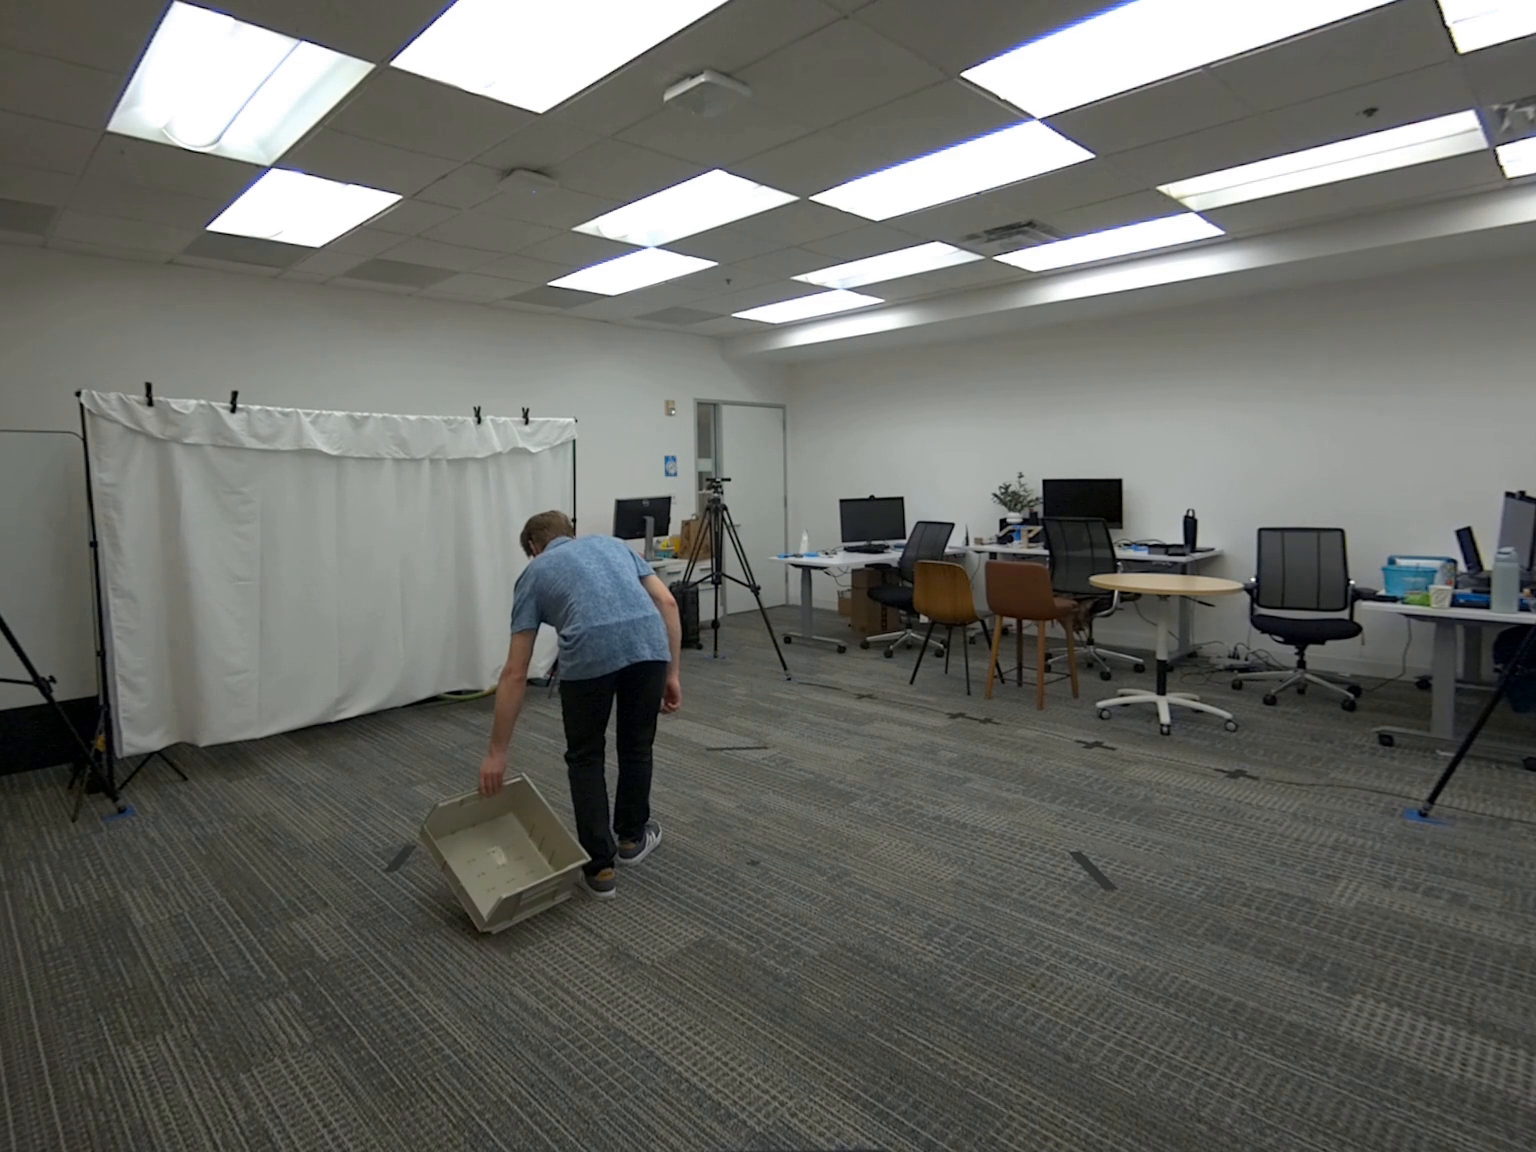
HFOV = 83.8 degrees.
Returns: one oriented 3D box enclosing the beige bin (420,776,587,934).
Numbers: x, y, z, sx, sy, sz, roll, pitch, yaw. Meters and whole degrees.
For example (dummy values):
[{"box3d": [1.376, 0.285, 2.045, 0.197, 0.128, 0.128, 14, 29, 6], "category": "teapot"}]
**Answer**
[{"box3d": [-0.874, 0.911, 2.817, 0.438, 0.187, 0.367, 38, 27, 32], "category": "beige bin"}]
